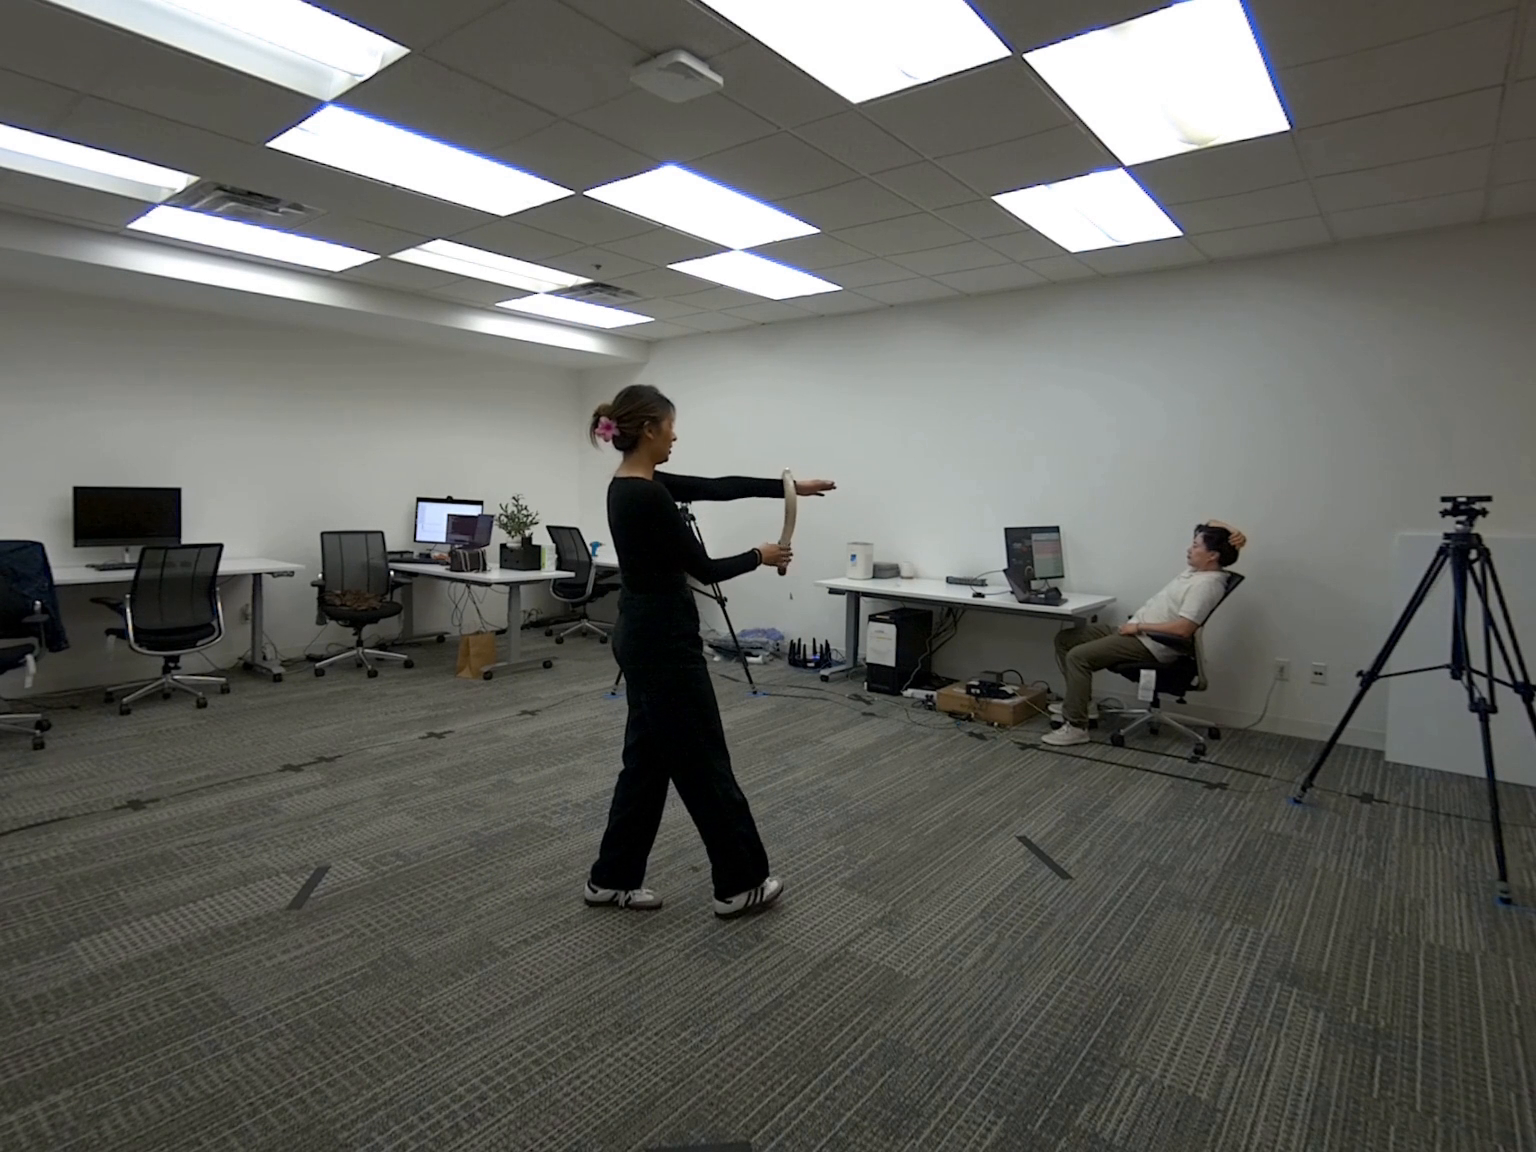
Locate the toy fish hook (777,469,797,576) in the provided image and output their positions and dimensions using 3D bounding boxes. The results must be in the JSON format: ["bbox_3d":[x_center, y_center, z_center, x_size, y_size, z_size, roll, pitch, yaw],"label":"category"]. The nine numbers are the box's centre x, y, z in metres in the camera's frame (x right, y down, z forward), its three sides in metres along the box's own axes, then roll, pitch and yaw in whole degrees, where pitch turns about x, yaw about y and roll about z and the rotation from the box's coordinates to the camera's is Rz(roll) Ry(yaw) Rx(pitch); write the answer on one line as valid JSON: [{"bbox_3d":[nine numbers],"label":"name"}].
[{"bbox_3d":[0.058,-0.190,3.069,0.048,0.230,0.494,4,-37,-3],"label":"toy fish hook"}]
